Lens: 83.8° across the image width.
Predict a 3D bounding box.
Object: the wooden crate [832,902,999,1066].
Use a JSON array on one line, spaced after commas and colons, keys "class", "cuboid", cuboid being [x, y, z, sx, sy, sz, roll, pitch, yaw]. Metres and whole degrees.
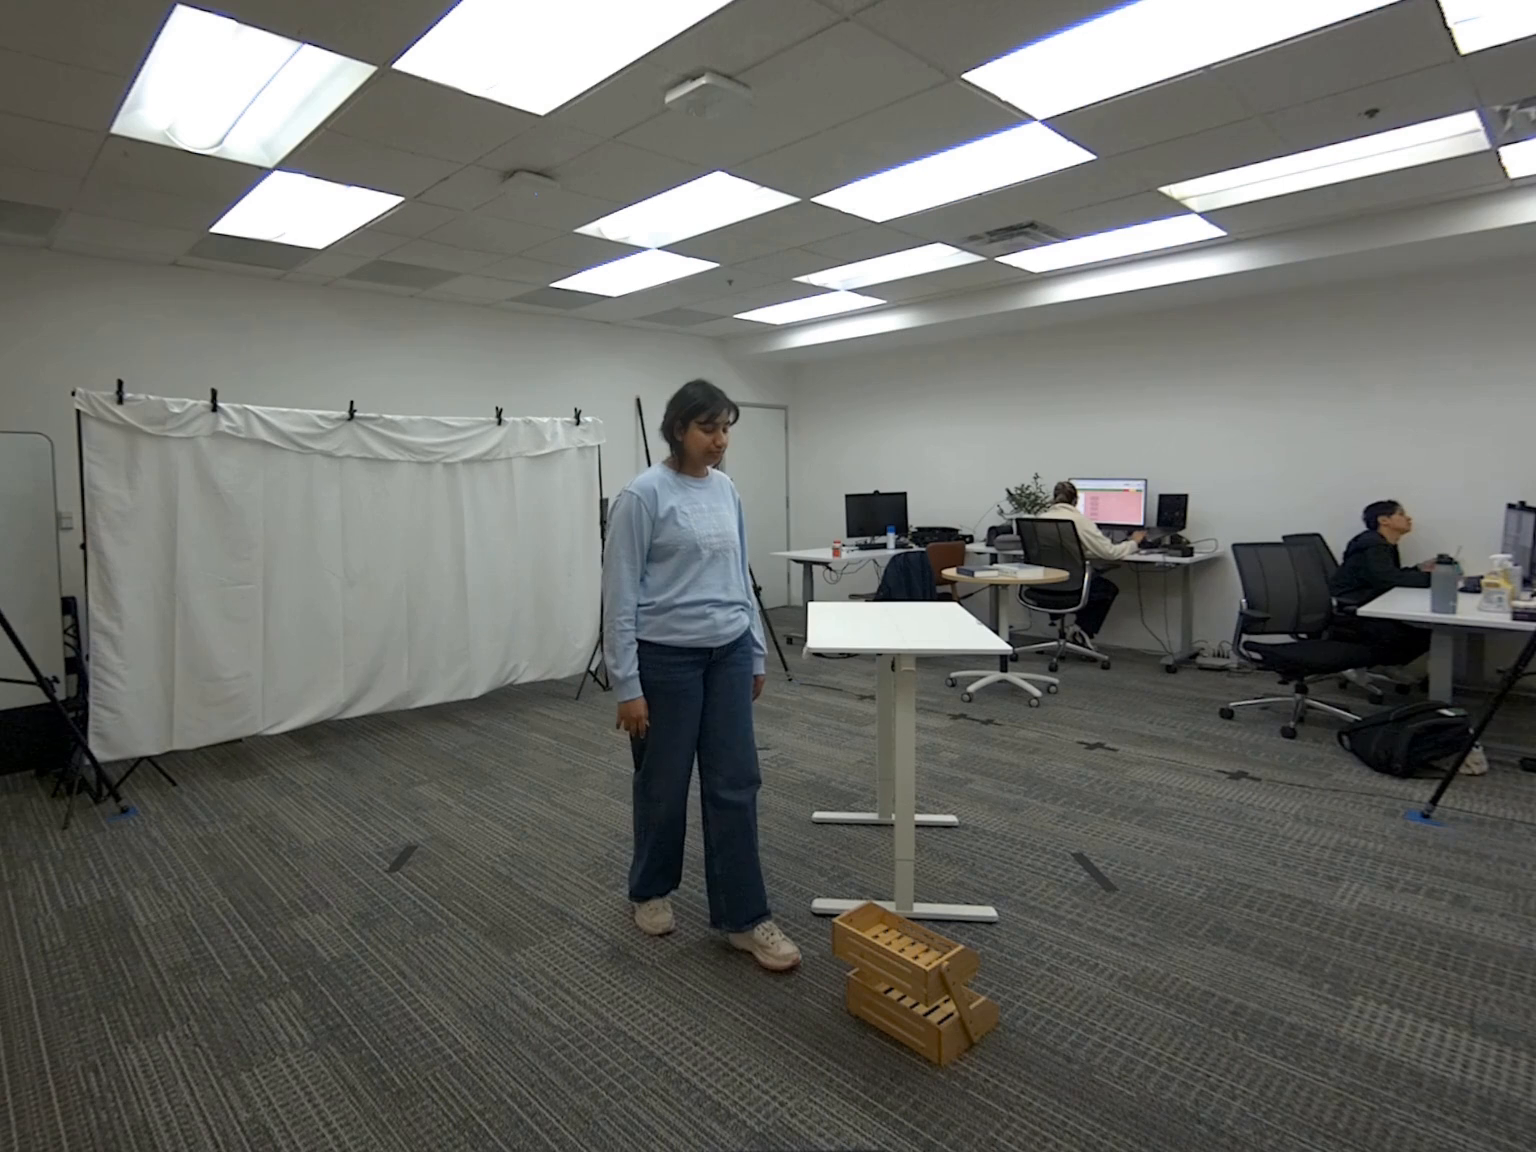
[{"class": "wooden crate", "cuboid": [0.381, 1.000, 2.197, 0.294, 0.272, 0.334, -7, 7, -41]}]
